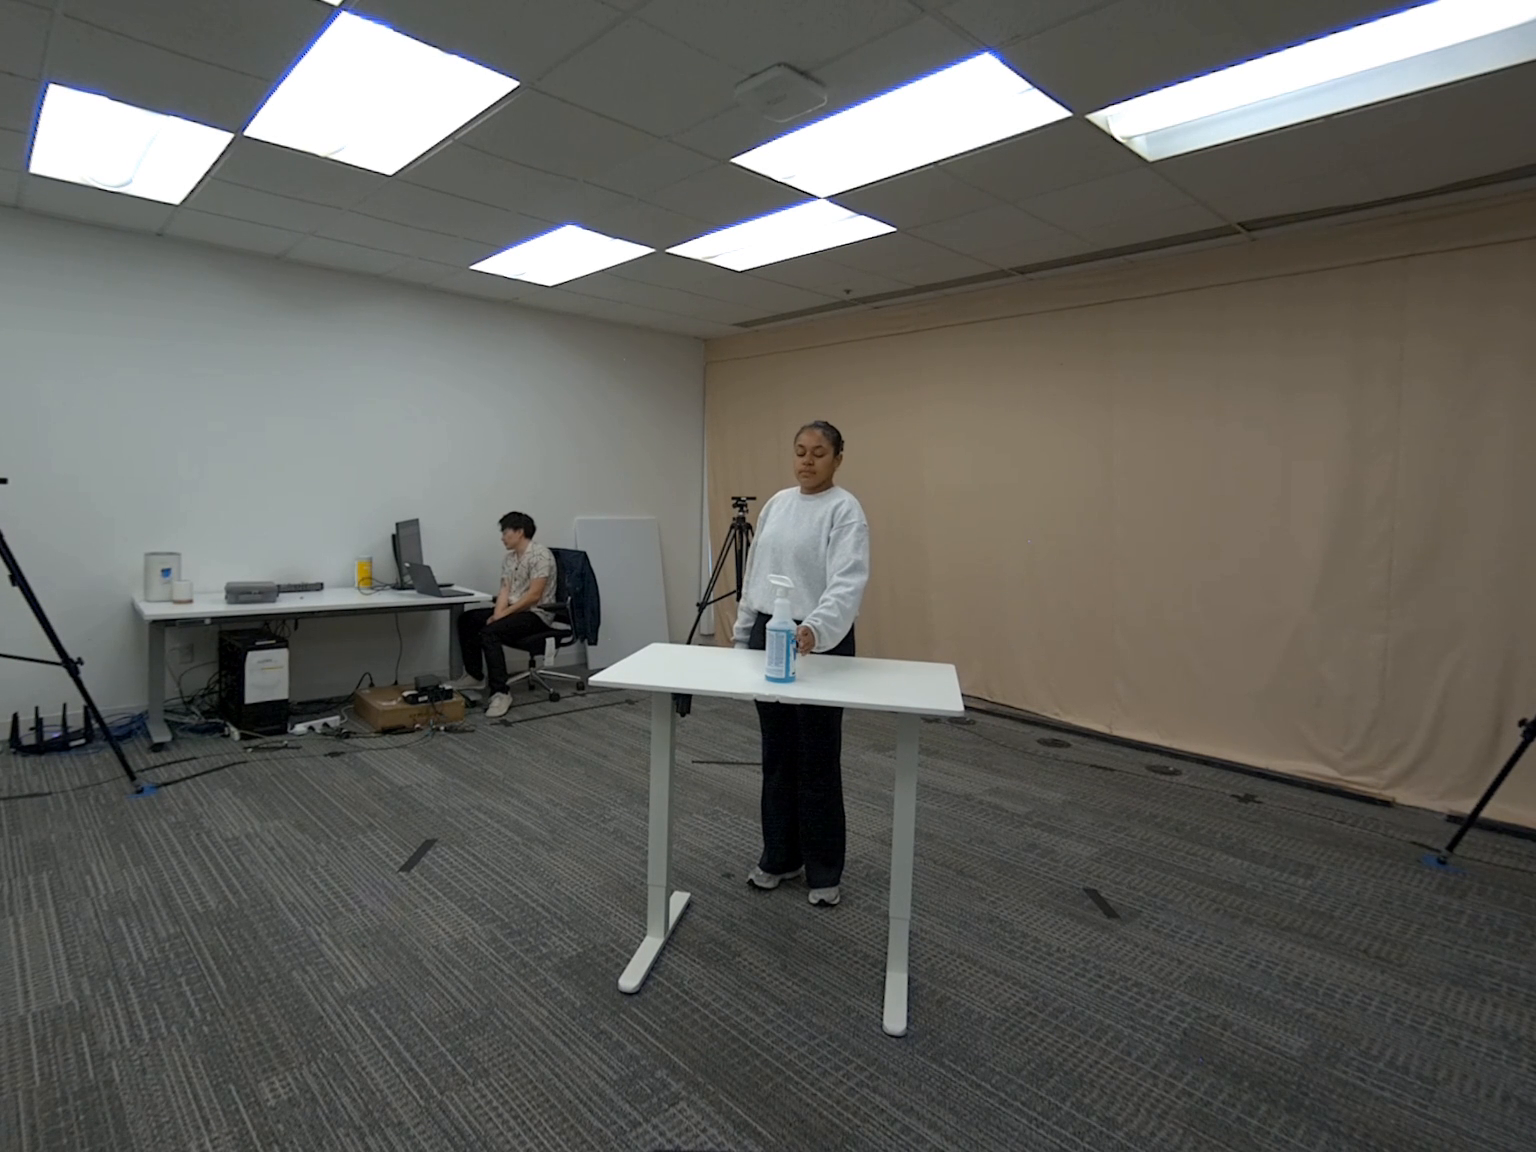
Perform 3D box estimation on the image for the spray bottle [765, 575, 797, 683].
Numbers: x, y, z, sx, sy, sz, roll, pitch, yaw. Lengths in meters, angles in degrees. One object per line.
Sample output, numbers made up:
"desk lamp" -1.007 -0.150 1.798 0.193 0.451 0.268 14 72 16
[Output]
"spray bottle" 0.024 0.152 2.373 0.085 0.296 0.092 -2 5 -26
